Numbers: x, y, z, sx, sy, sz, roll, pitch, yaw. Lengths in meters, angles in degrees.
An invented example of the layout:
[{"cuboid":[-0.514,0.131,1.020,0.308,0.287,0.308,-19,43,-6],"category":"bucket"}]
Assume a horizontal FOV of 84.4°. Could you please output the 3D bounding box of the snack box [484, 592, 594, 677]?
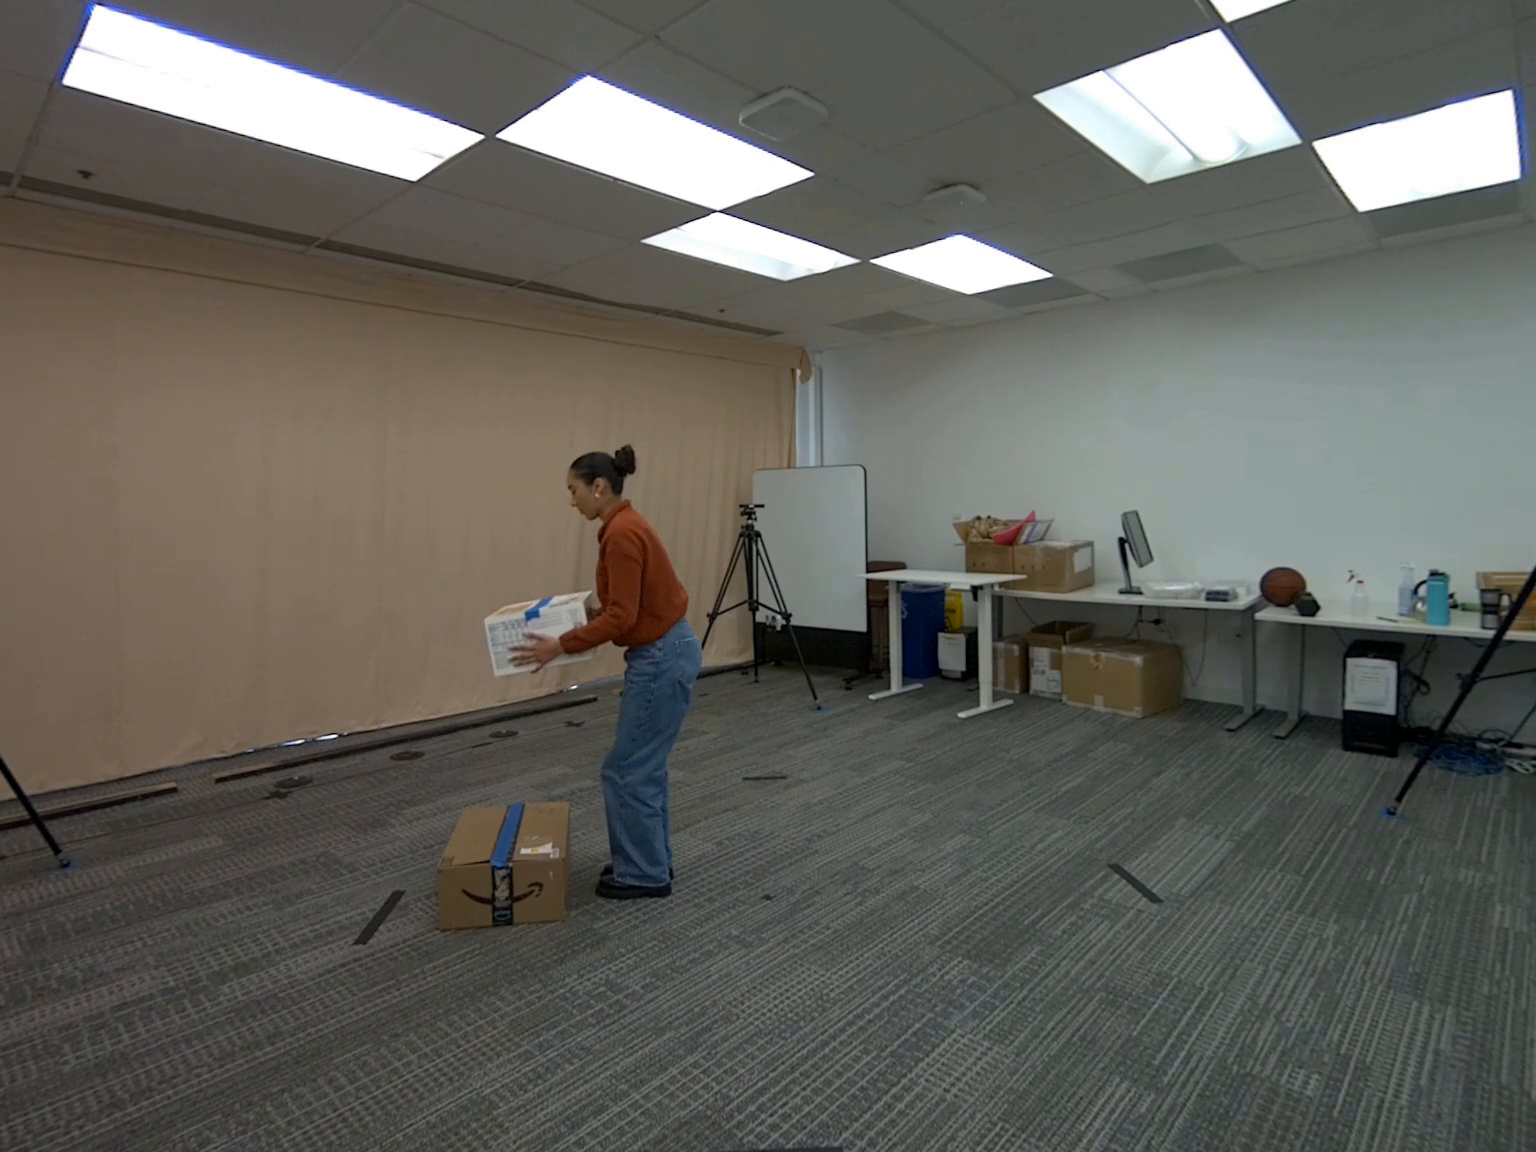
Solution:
[{"cuboid":[-0.794,0.213,3.036,0.339,0.205,0.408,-10,5,-5],"category":"snack box"}]
